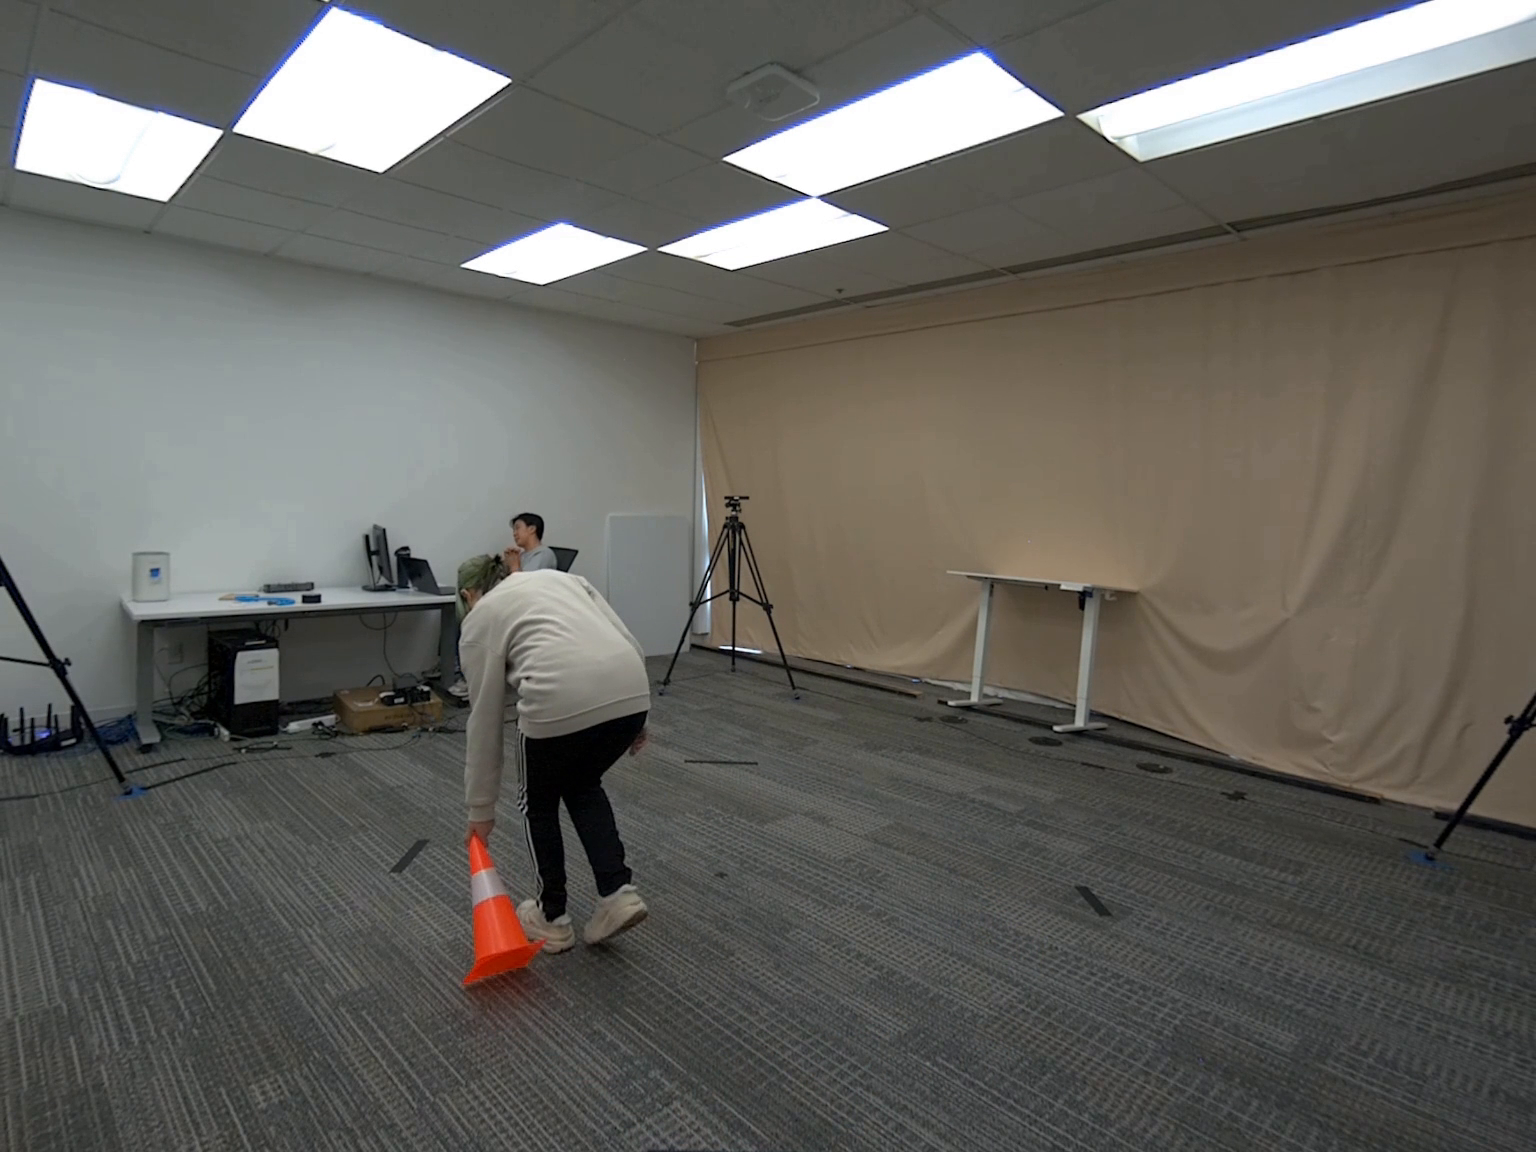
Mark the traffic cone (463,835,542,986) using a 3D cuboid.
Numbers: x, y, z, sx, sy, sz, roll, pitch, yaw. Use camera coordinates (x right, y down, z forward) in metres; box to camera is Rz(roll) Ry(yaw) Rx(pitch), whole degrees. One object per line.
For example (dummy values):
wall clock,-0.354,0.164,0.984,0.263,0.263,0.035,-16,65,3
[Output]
traffic cone,-0.825,0.944,2.449,0.202,0.394,0.201,-7,-38,-26
